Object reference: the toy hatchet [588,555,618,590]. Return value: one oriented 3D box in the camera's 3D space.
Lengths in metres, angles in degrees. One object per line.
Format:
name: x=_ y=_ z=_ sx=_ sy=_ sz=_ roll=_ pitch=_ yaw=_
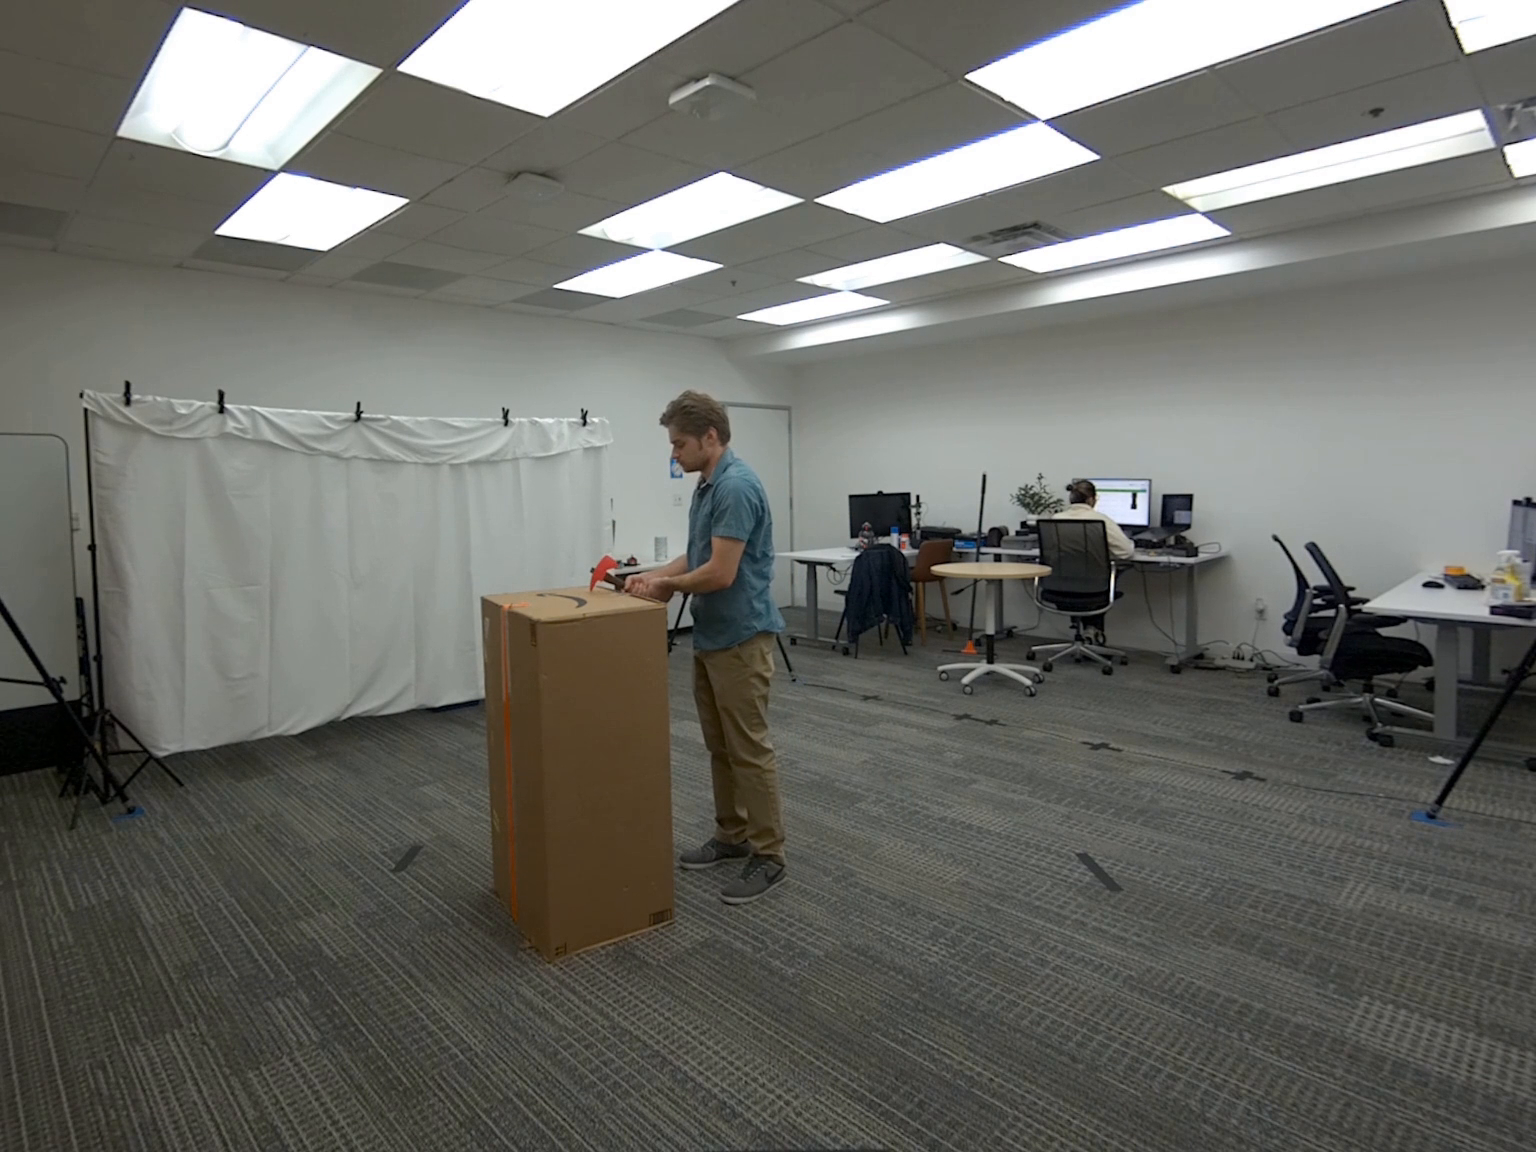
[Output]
toy hatchet: x=-0.484 y=-0.005 z=2.992 sx=0.267 sy=0.131 sz=0.030 roll=4 pitch=-1 yaw=-11
